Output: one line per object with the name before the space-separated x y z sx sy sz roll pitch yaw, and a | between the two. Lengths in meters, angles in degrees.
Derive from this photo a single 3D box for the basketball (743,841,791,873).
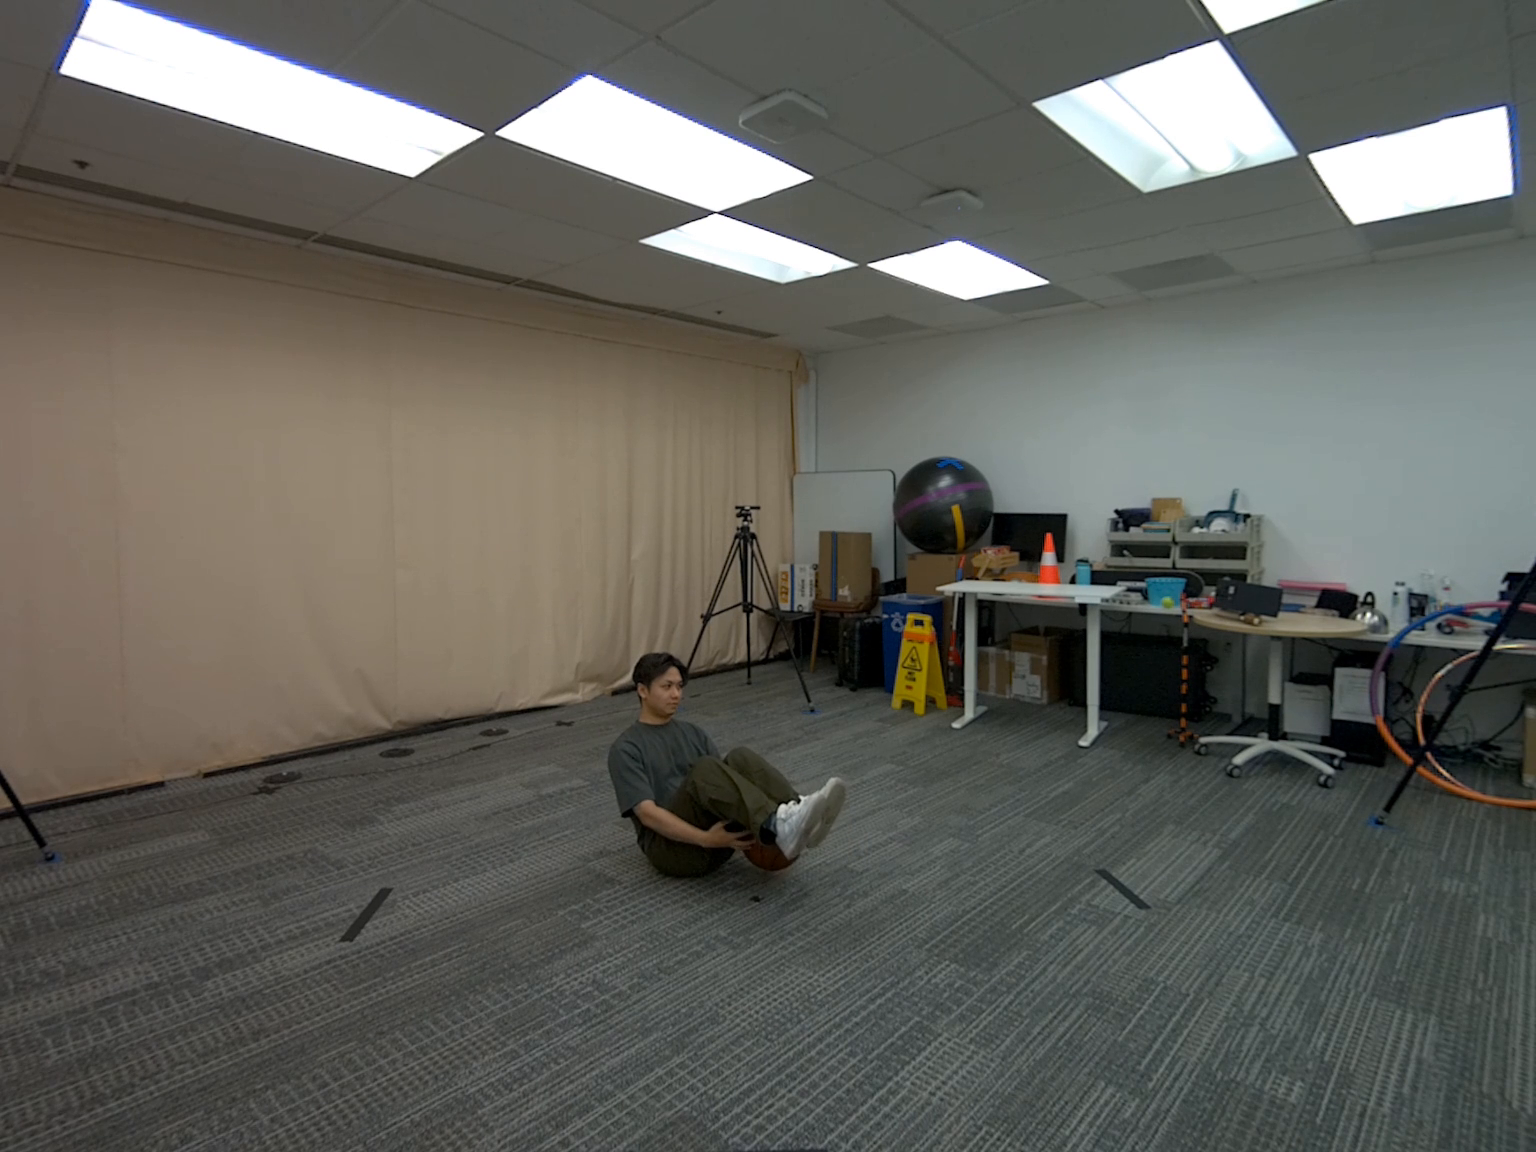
basketball | 0.015 0.960 3.096 0.236 0.235 0.237 0 4 -2
